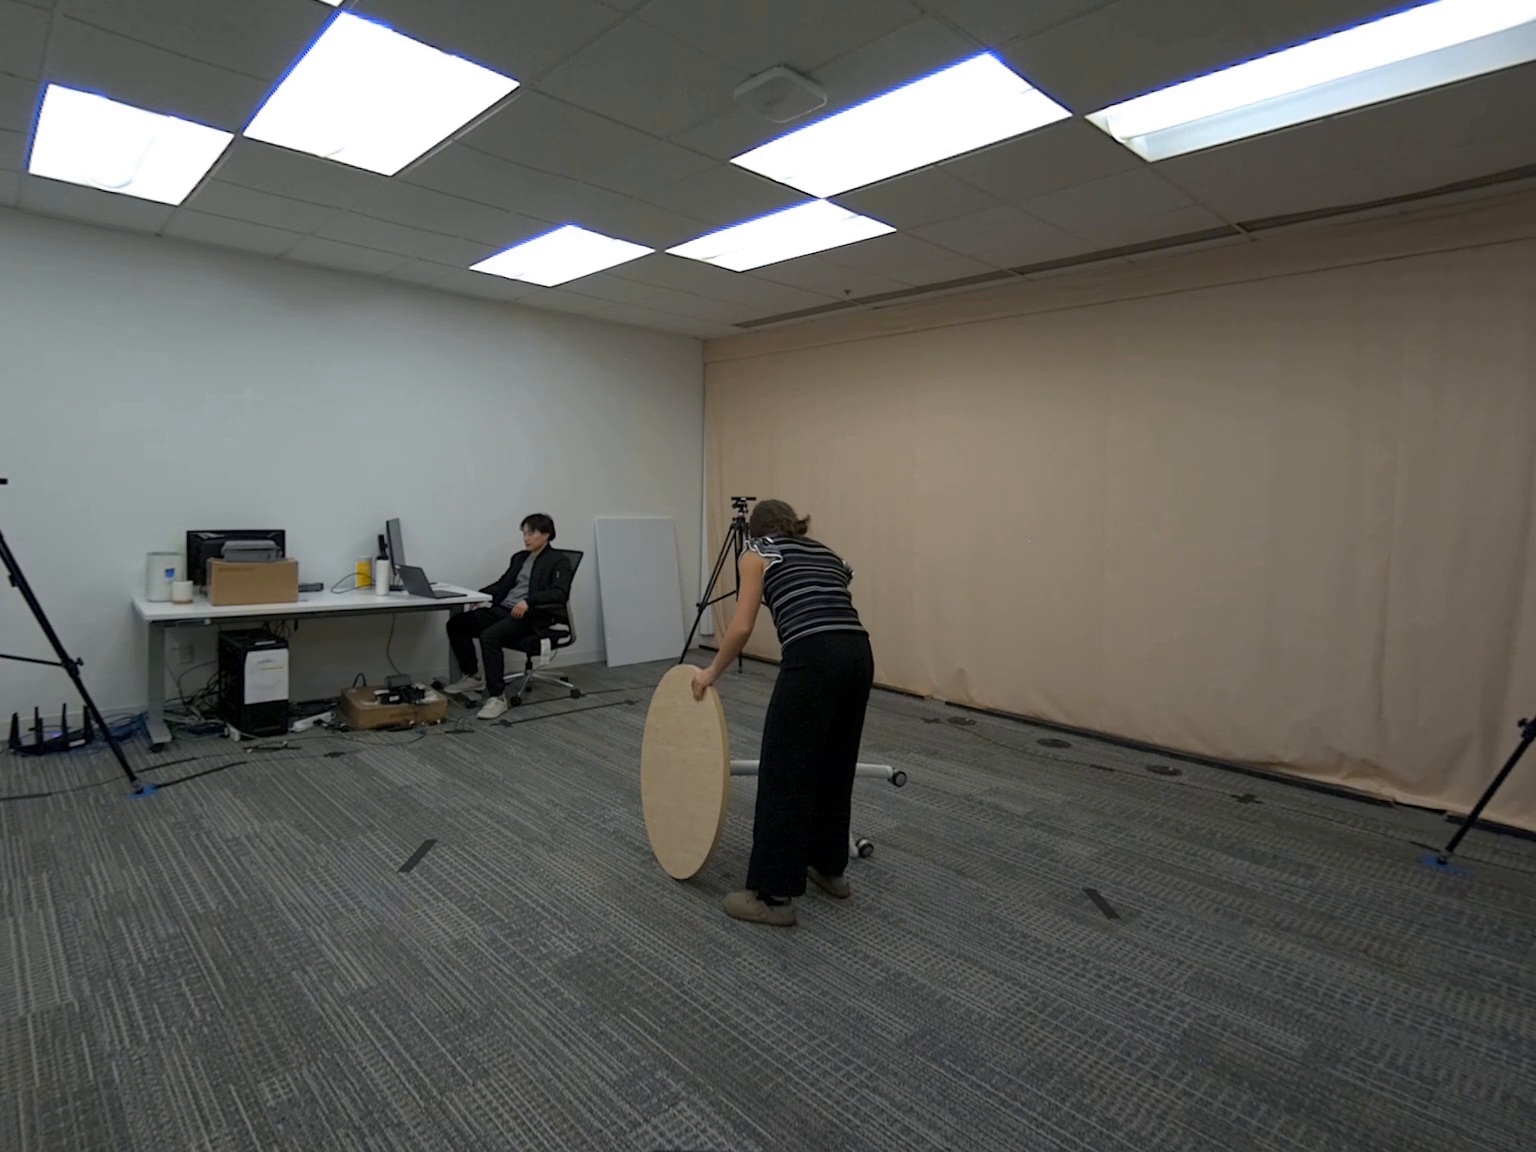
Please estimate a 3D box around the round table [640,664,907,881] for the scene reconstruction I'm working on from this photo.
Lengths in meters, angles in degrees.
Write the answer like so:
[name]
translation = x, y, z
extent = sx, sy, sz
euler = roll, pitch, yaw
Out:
[round table]
translation = 0.002, 0.756, 3.311
extent = 0.777, 0.763, 0.780
euler = 6, 2, -28
